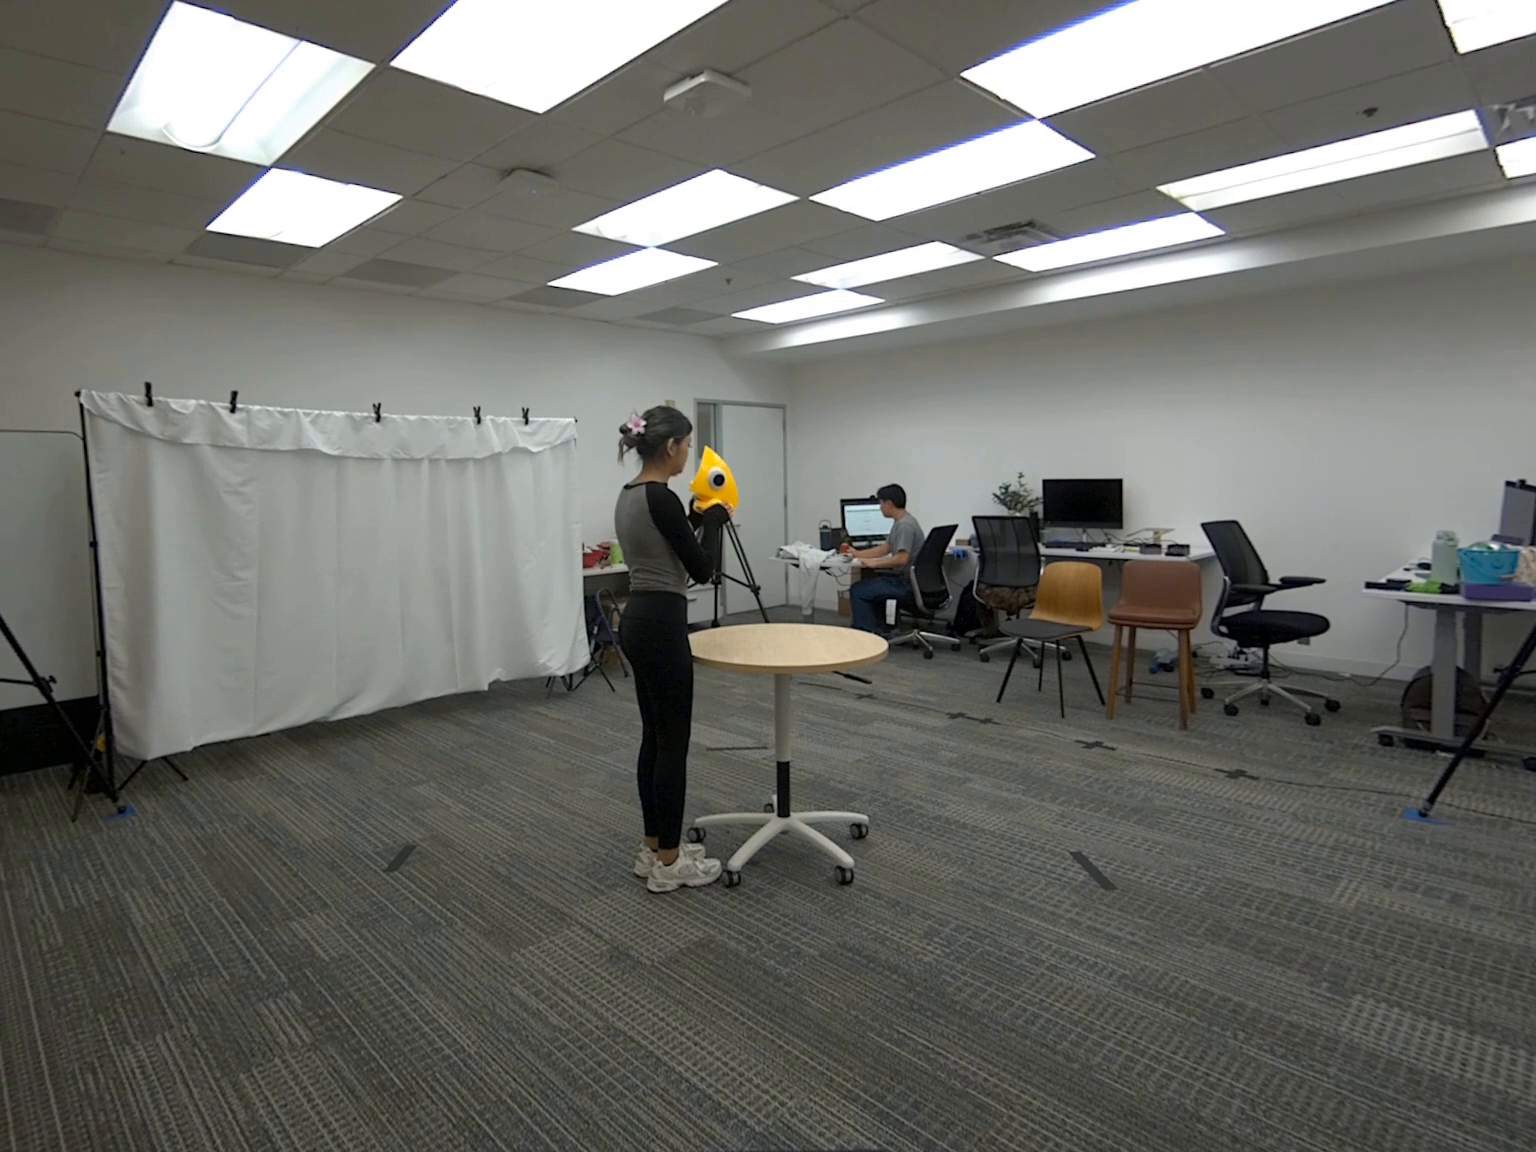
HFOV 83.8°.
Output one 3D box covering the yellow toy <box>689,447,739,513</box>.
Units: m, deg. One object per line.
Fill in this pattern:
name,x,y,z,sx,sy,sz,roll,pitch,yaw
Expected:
yellow toy,-0.189,-0.359,3.193,0.194,0.227,0.206,11,19,3
